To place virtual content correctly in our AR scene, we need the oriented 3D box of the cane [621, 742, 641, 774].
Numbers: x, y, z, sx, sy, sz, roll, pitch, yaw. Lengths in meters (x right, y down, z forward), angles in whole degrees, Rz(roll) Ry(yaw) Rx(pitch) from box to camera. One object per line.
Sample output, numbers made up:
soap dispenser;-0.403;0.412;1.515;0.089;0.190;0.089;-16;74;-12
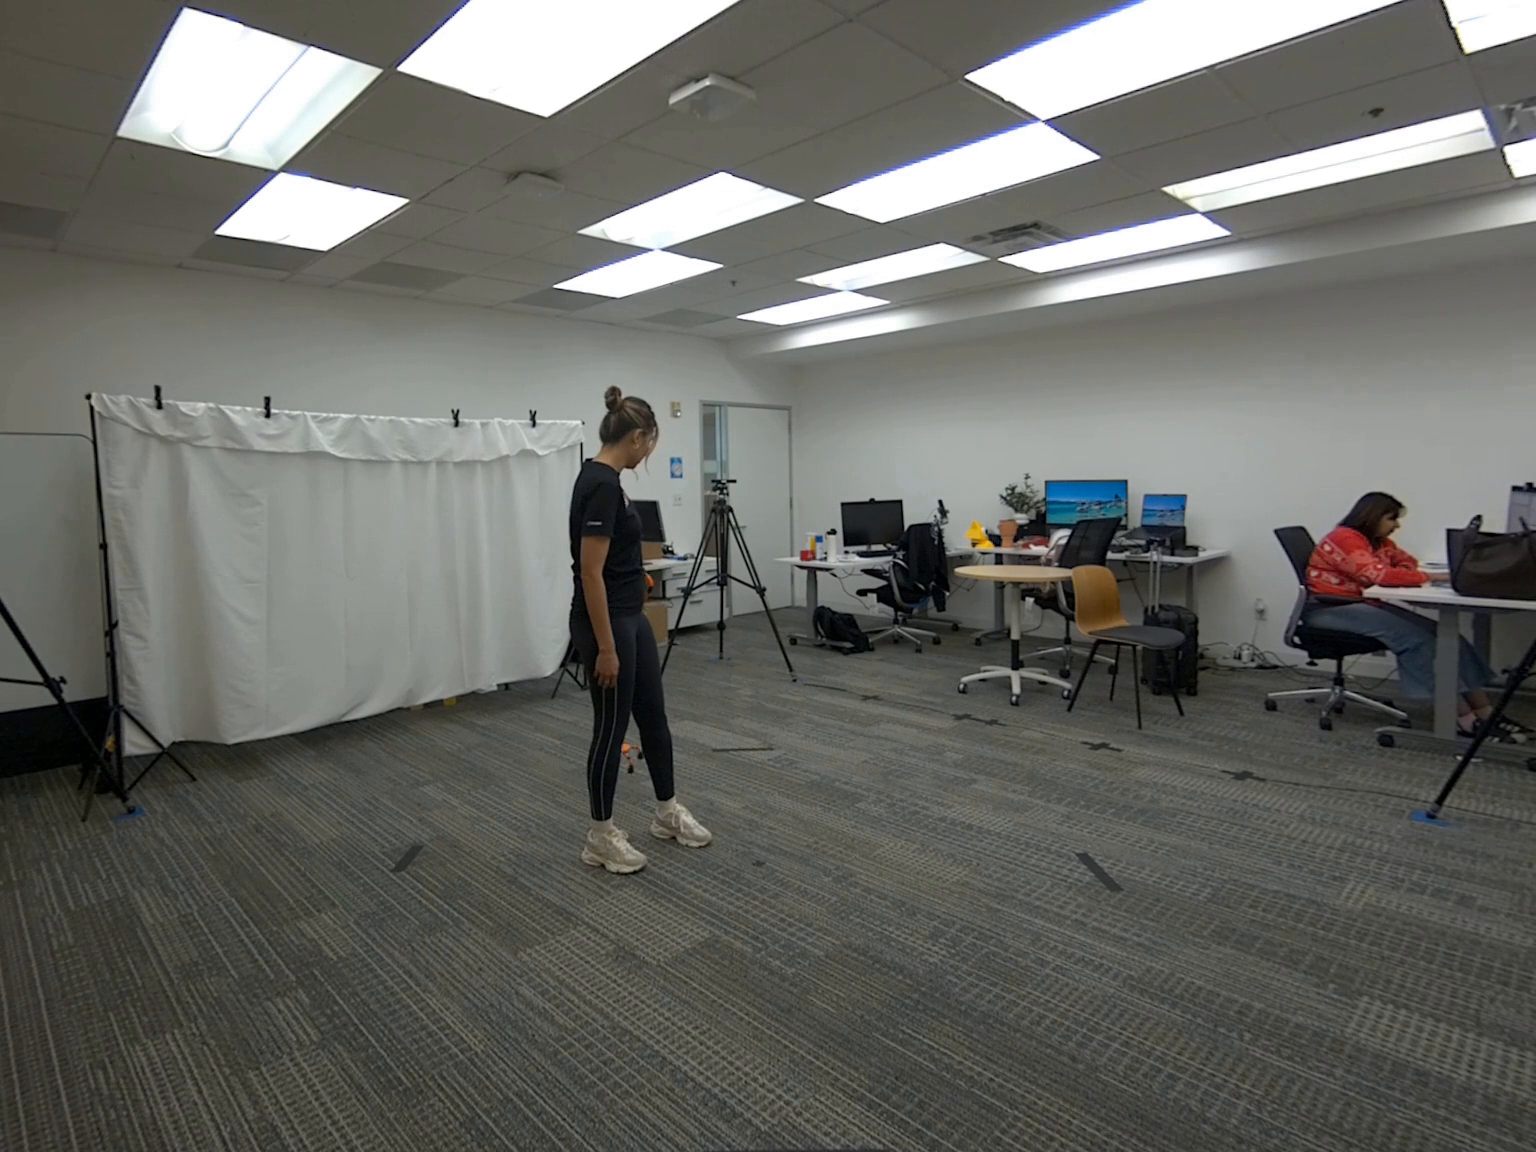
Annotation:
cane;-0.597;0.411;3.674;0.209;0.897;0.151;13;17;11
